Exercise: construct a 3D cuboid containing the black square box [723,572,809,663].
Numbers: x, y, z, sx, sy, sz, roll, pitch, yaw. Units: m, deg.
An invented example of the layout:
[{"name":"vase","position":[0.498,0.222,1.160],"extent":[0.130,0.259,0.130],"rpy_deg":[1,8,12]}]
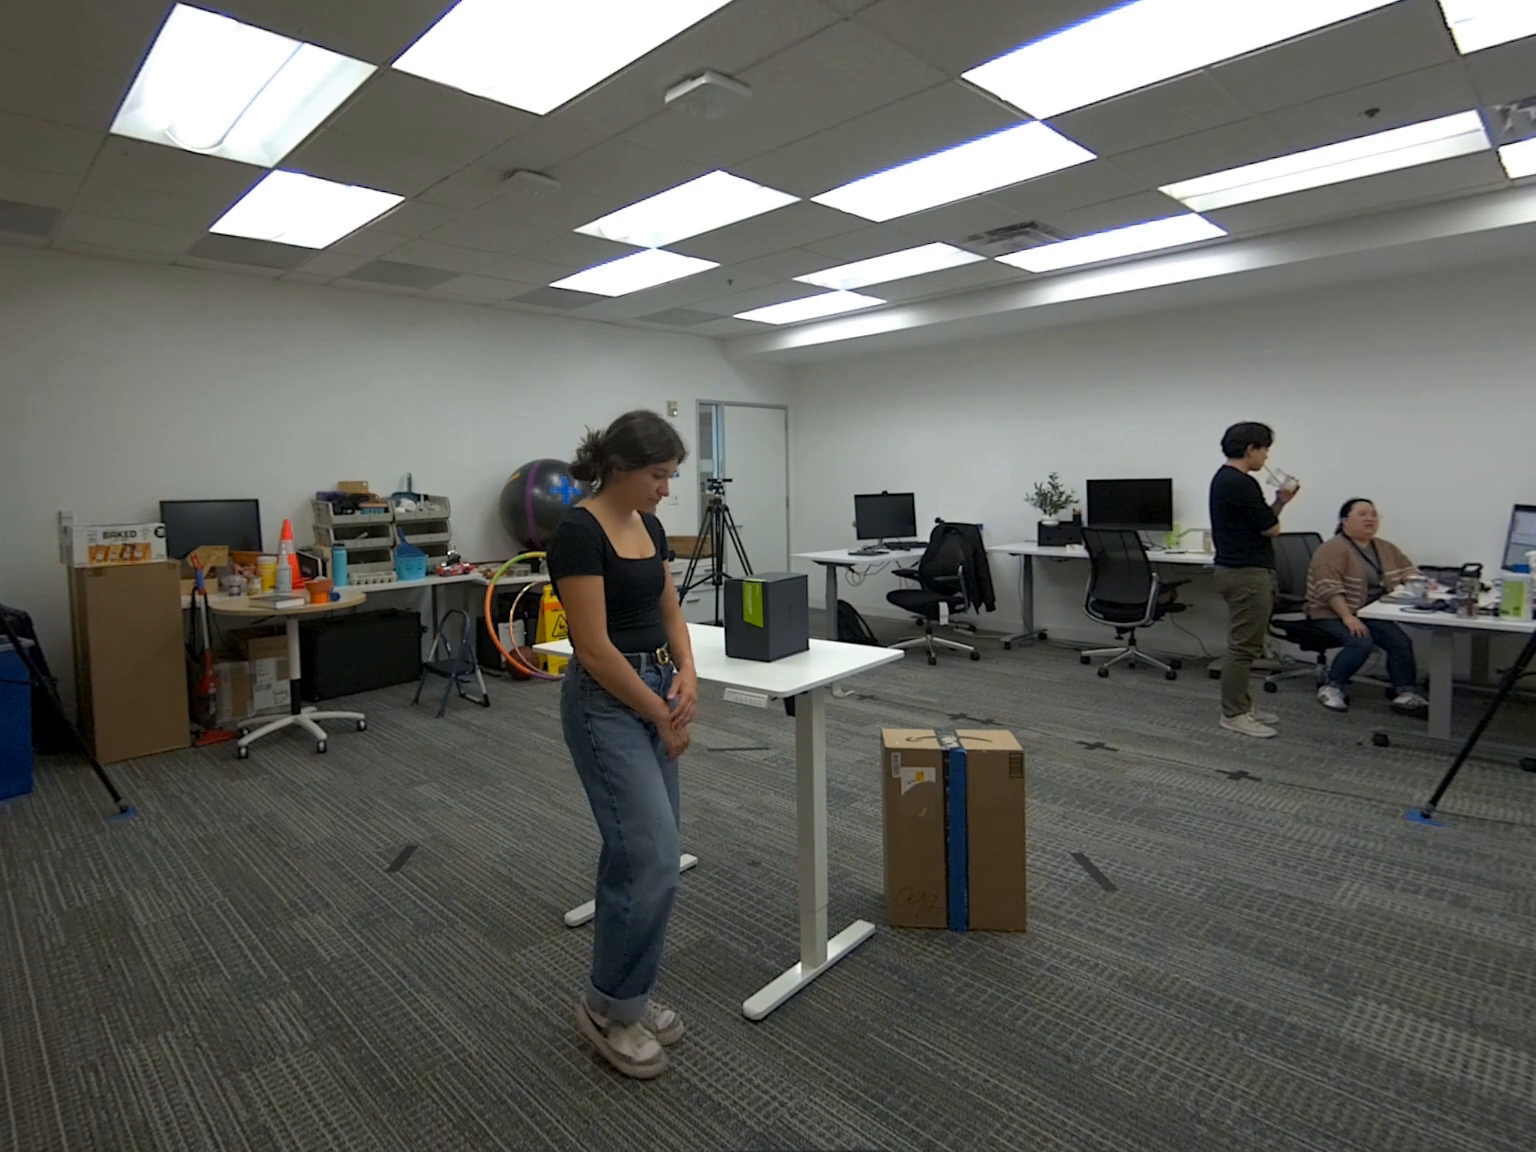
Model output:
[{"name":"black square box","position":[-0.002,0.115,2.503],"extent":[0.160,0.227,0.212],"rpy_deg":[2,6,36]}]
